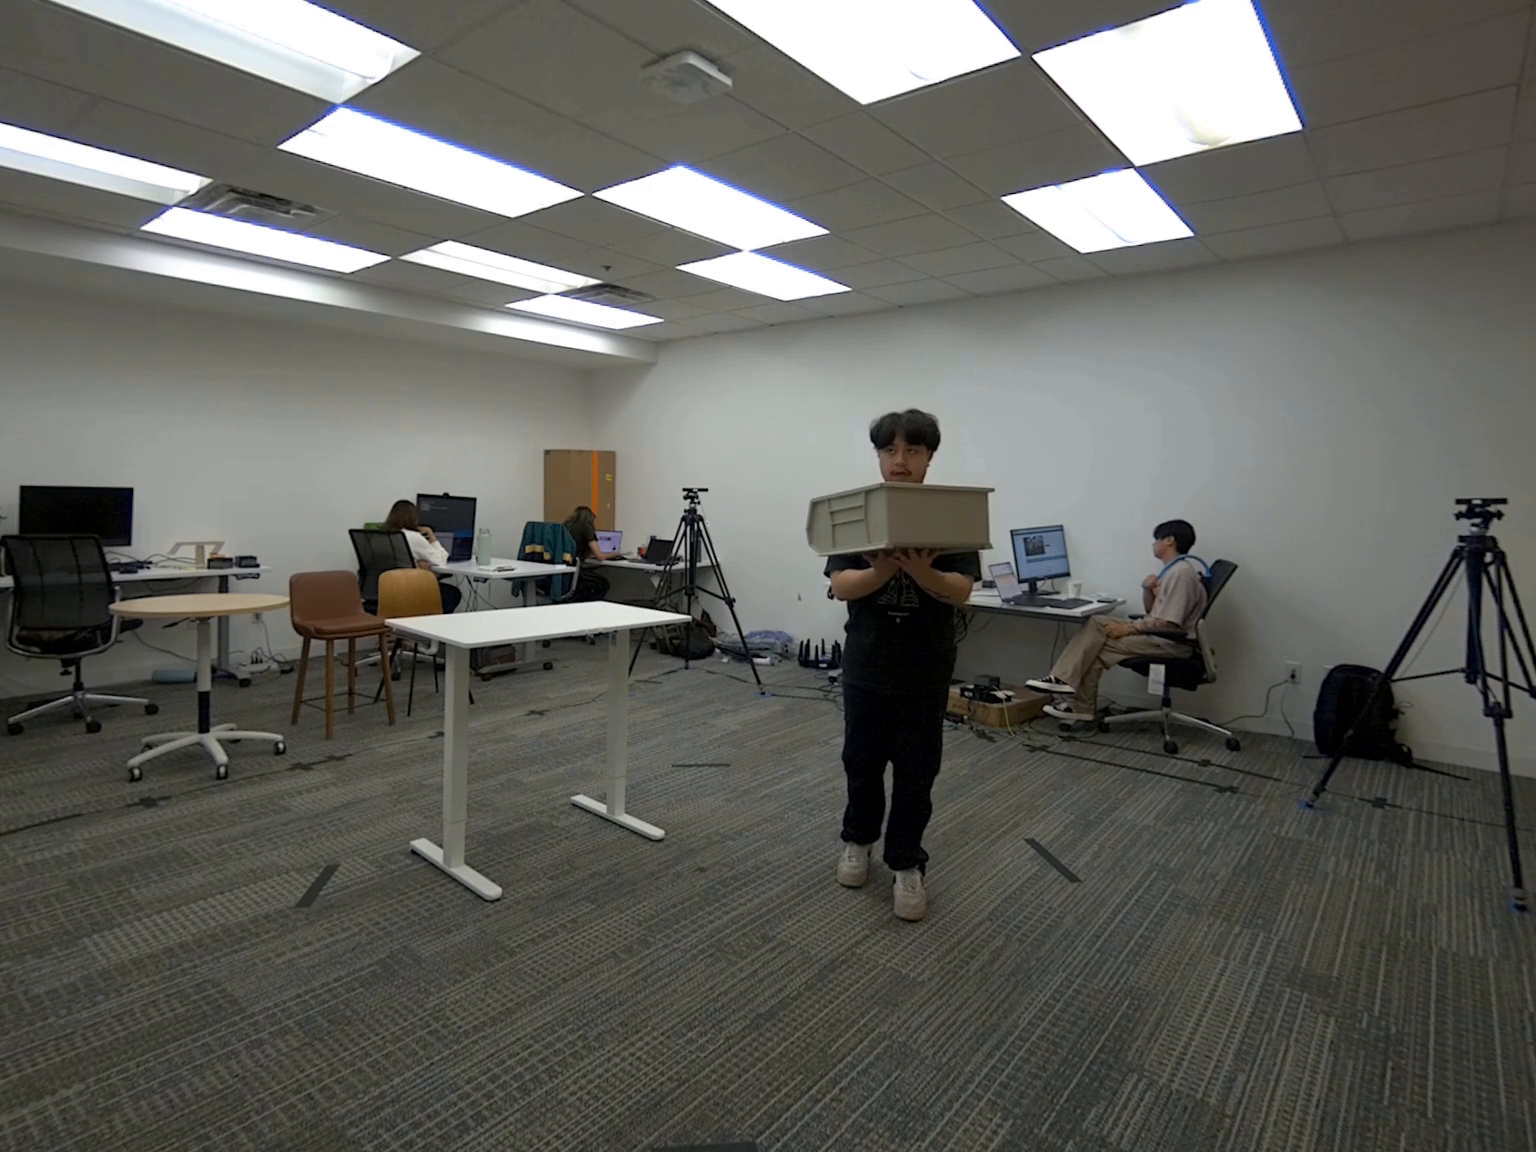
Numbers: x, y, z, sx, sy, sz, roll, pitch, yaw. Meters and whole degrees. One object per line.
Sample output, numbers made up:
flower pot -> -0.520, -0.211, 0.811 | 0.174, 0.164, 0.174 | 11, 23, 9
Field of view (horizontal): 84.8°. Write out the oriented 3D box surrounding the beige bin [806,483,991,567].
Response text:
beige bin -> 0.386, -0.158, 2.560 | 0.411, 0.190, 0.386 | 0, -3, -31
